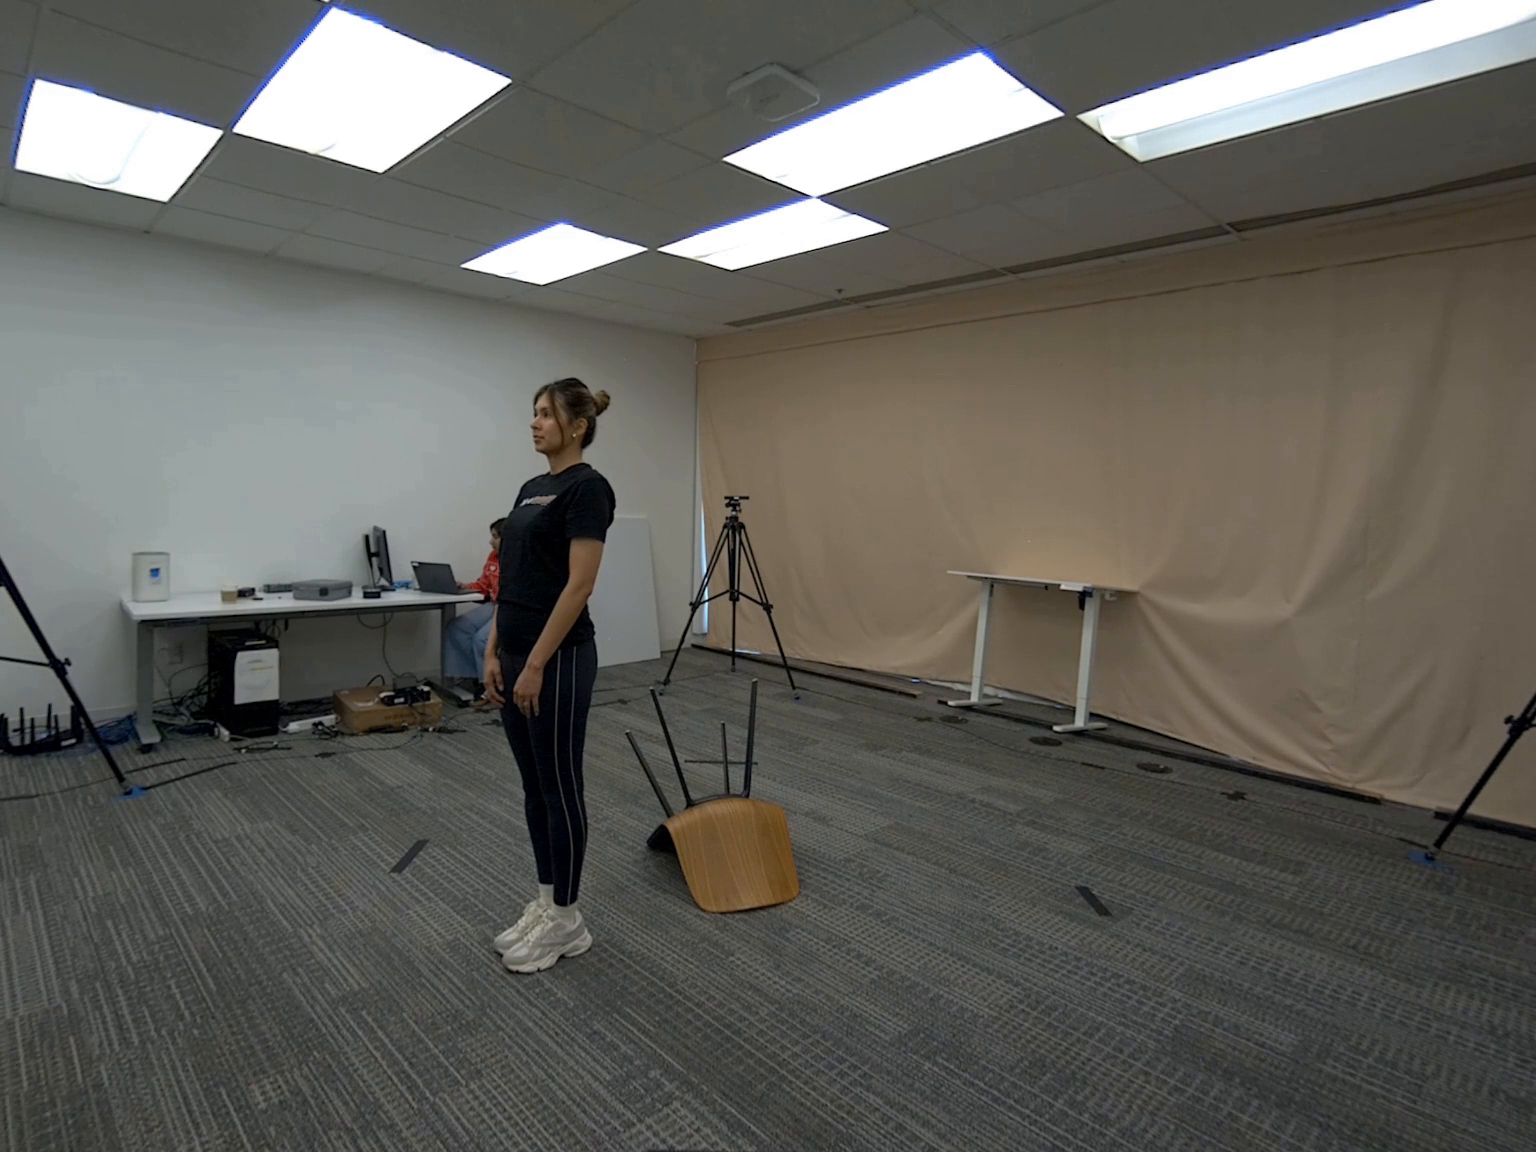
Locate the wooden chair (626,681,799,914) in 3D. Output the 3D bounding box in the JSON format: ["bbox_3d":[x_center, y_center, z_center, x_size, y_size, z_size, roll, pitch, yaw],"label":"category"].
[{"bbox_3d":[-0.229,0.913,3.274,0.470,0.900,0.518,-1,-36,-24],"label":"wooden chair"}]
